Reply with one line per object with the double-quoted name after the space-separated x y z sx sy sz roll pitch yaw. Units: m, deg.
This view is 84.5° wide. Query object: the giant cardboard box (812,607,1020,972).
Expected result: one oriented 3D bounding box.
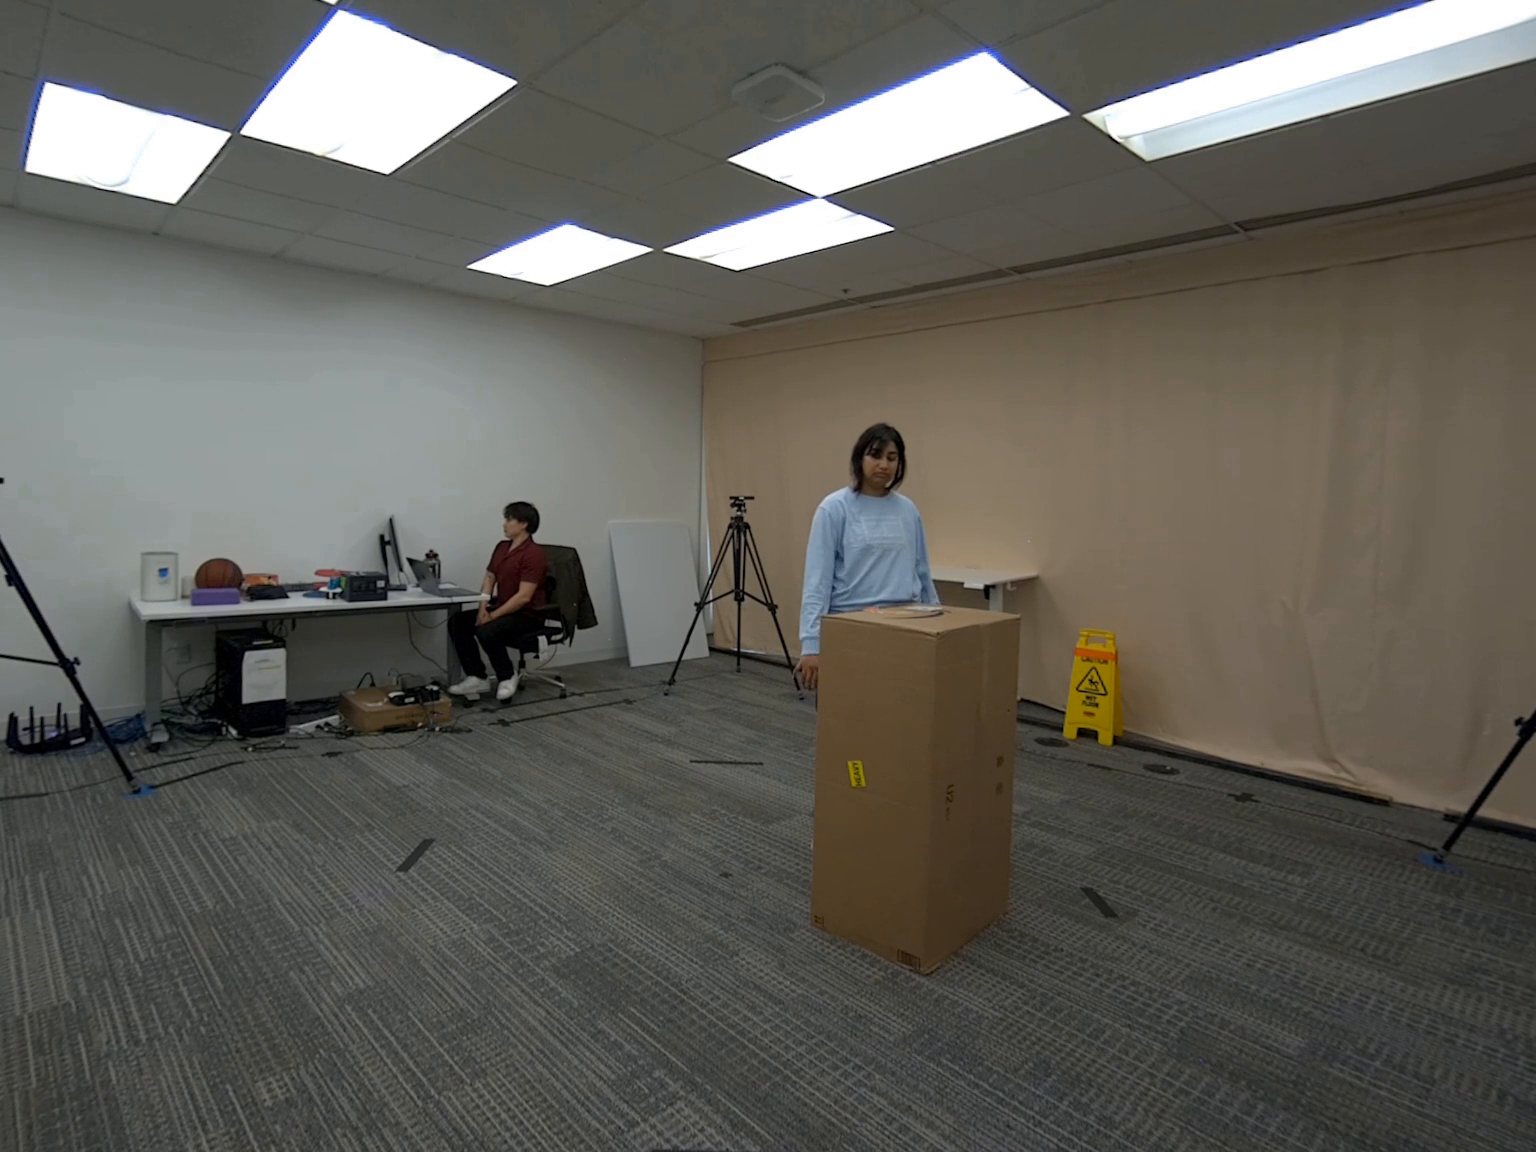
0.487 0.638 2.795 0.458 1.025 0.570 4 4 42 "giant cardboard box"
